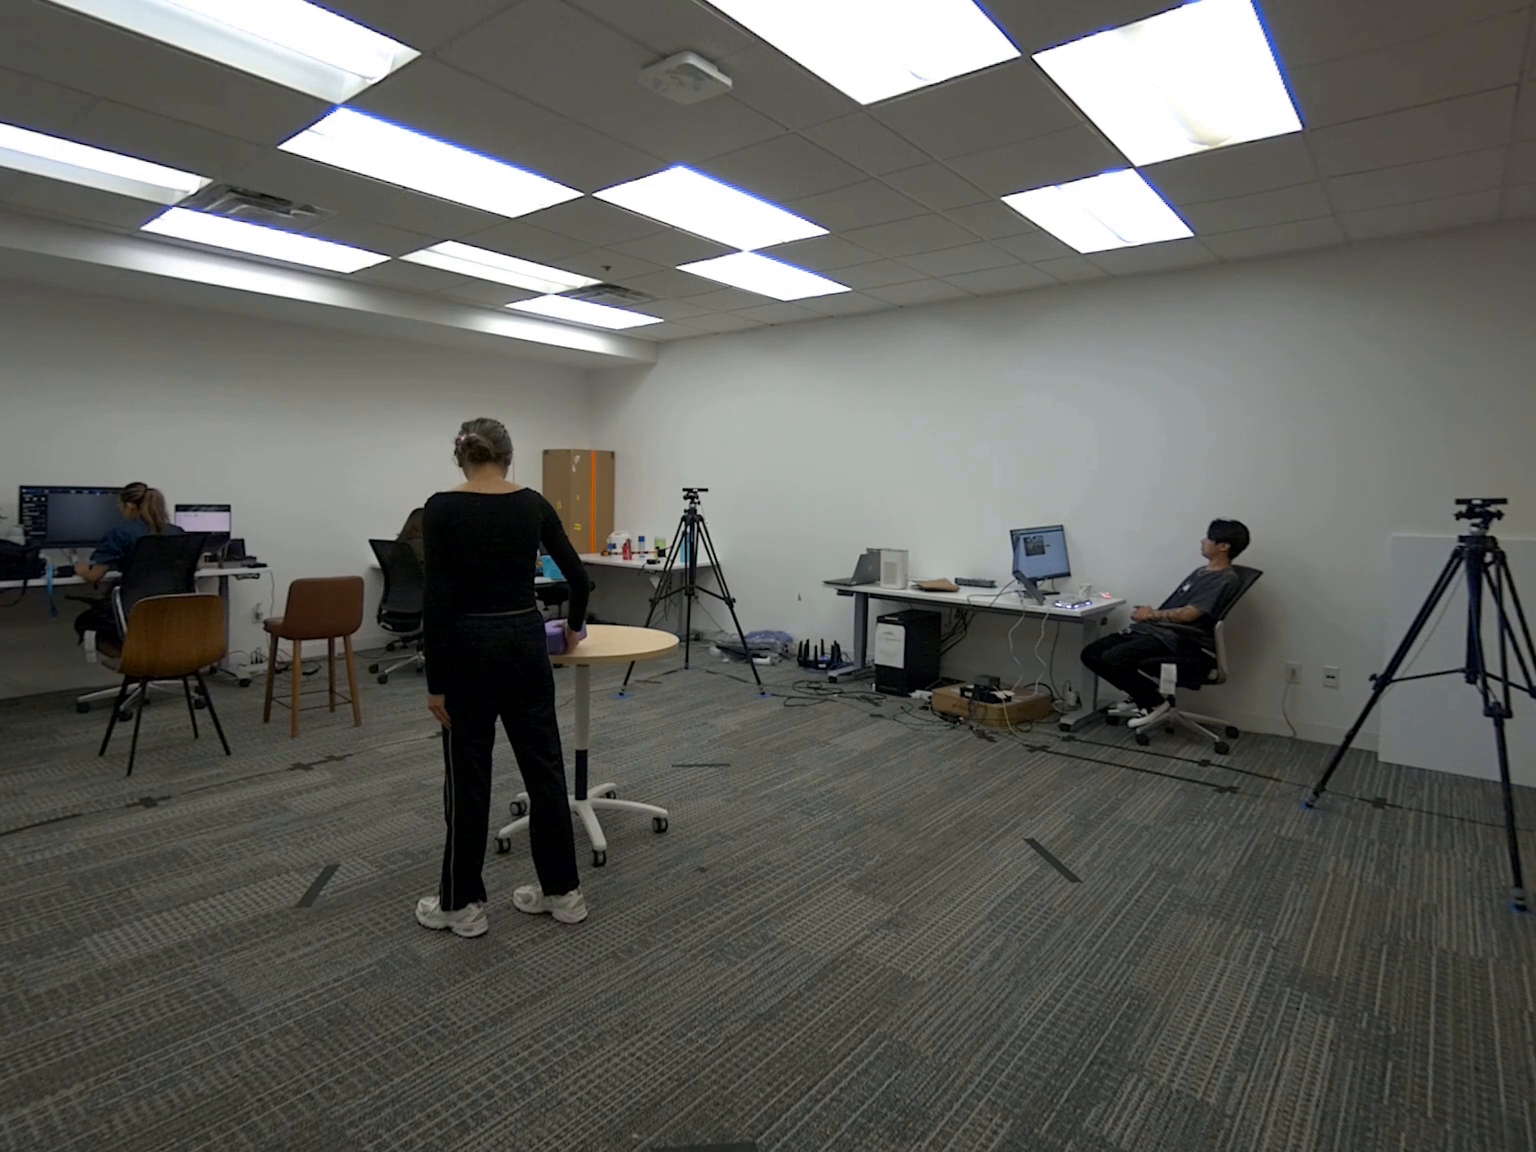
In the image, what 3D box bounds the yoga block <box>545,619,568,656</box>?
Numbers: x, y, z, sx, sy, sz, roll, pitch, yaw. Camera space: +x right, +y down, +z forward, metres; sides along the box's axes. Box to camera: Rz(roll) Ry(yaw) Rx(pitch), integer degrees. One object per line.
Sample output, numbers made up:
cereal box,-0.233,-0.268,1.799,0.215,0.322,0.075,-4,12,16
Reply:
yoga block,-0.785,0.215,3.124,0.151,0.076,0.228,-4,8,11
